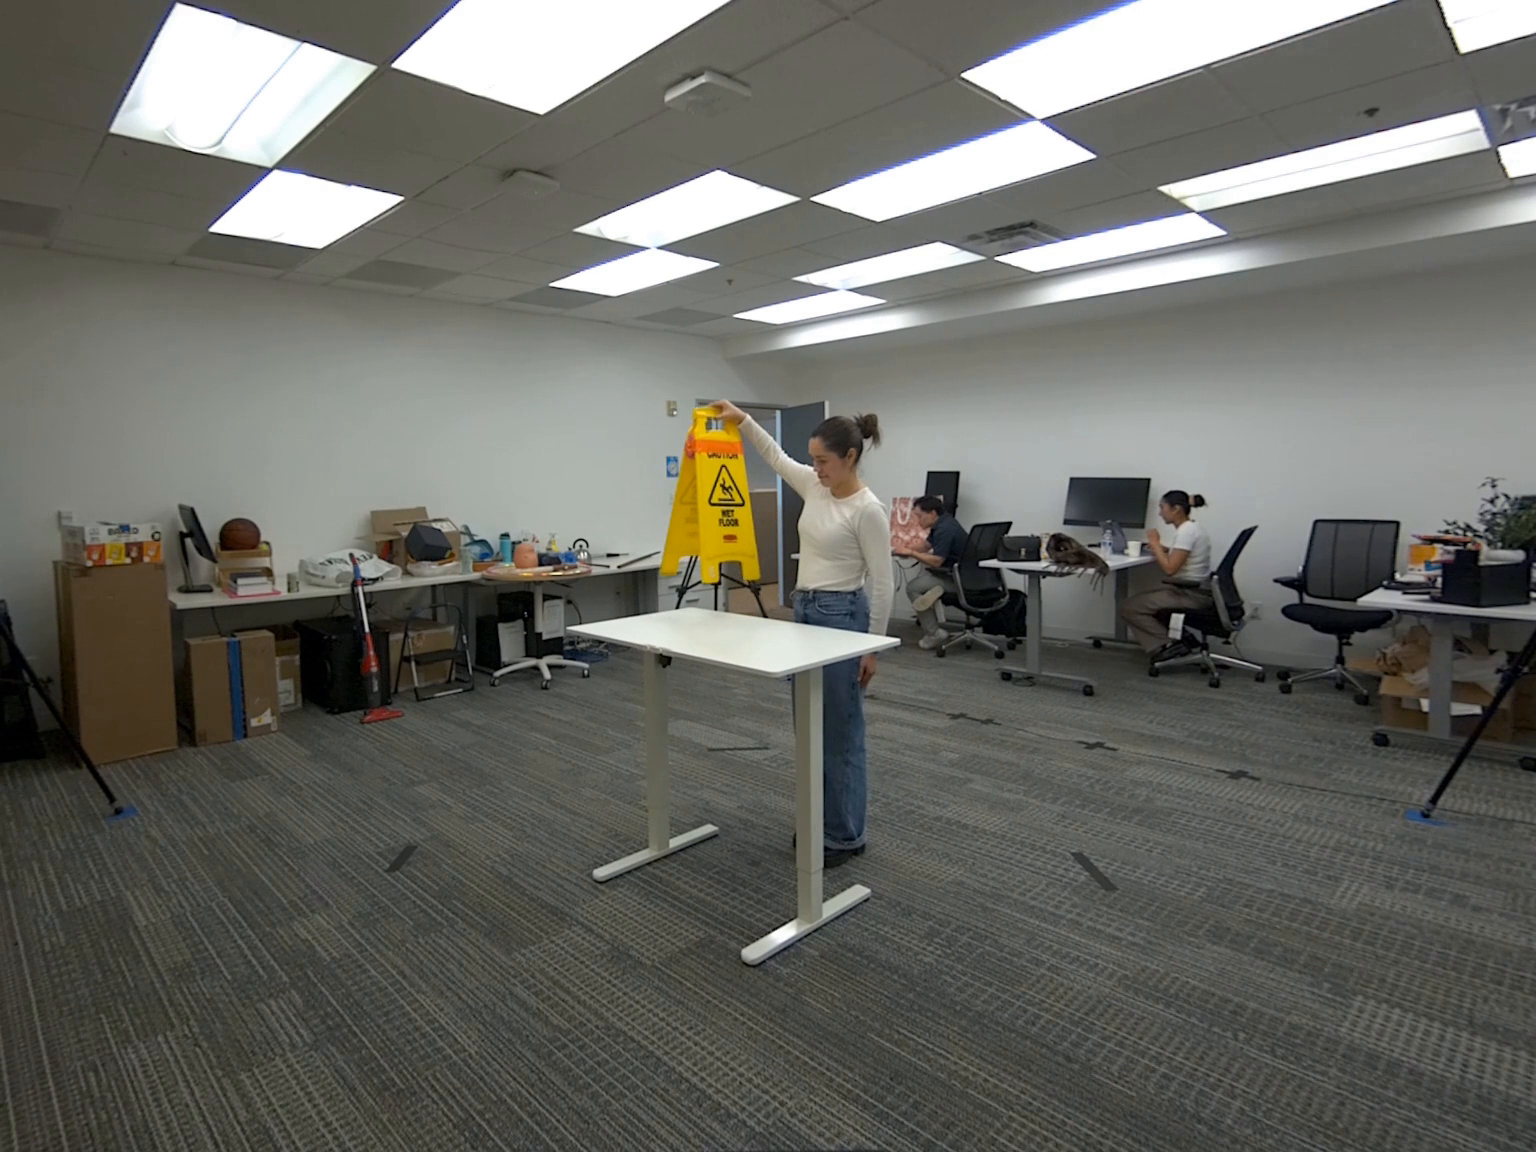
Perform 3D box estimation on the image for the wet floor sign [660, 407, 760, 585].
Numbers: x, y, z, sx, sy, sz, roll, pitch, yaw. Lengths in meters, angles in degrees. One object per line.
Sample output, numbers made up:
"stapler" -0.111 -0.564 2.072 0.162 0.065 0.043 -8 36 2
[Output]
"wet floor sign" -0.210 -0.315 3.279 0.274 0.644 0.299 -2 4 -42
